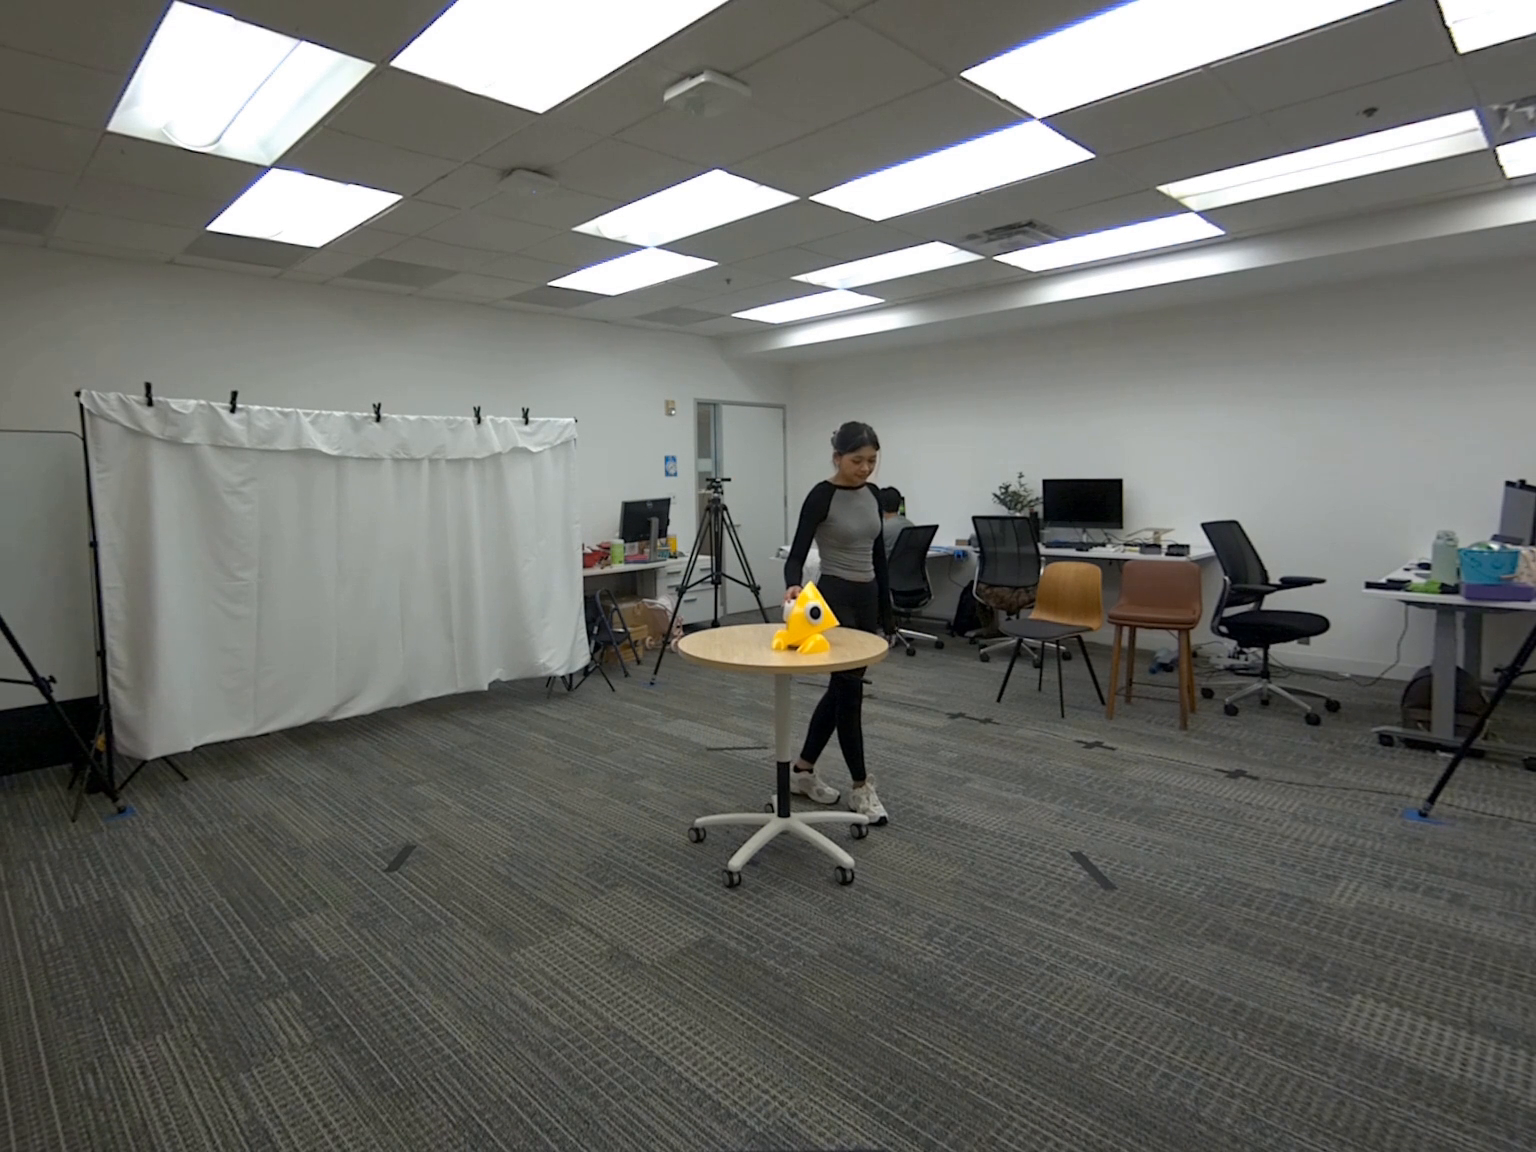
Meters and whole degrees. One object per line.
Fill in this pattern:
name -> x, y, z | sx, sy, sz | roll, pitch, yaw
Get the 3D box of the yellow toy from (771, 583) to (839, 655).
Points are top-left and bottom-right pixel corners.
yellow toy -> 0.122, 0.141, 3.037 | 0.211, 0.230, 0.188 | 3, 6, 35
